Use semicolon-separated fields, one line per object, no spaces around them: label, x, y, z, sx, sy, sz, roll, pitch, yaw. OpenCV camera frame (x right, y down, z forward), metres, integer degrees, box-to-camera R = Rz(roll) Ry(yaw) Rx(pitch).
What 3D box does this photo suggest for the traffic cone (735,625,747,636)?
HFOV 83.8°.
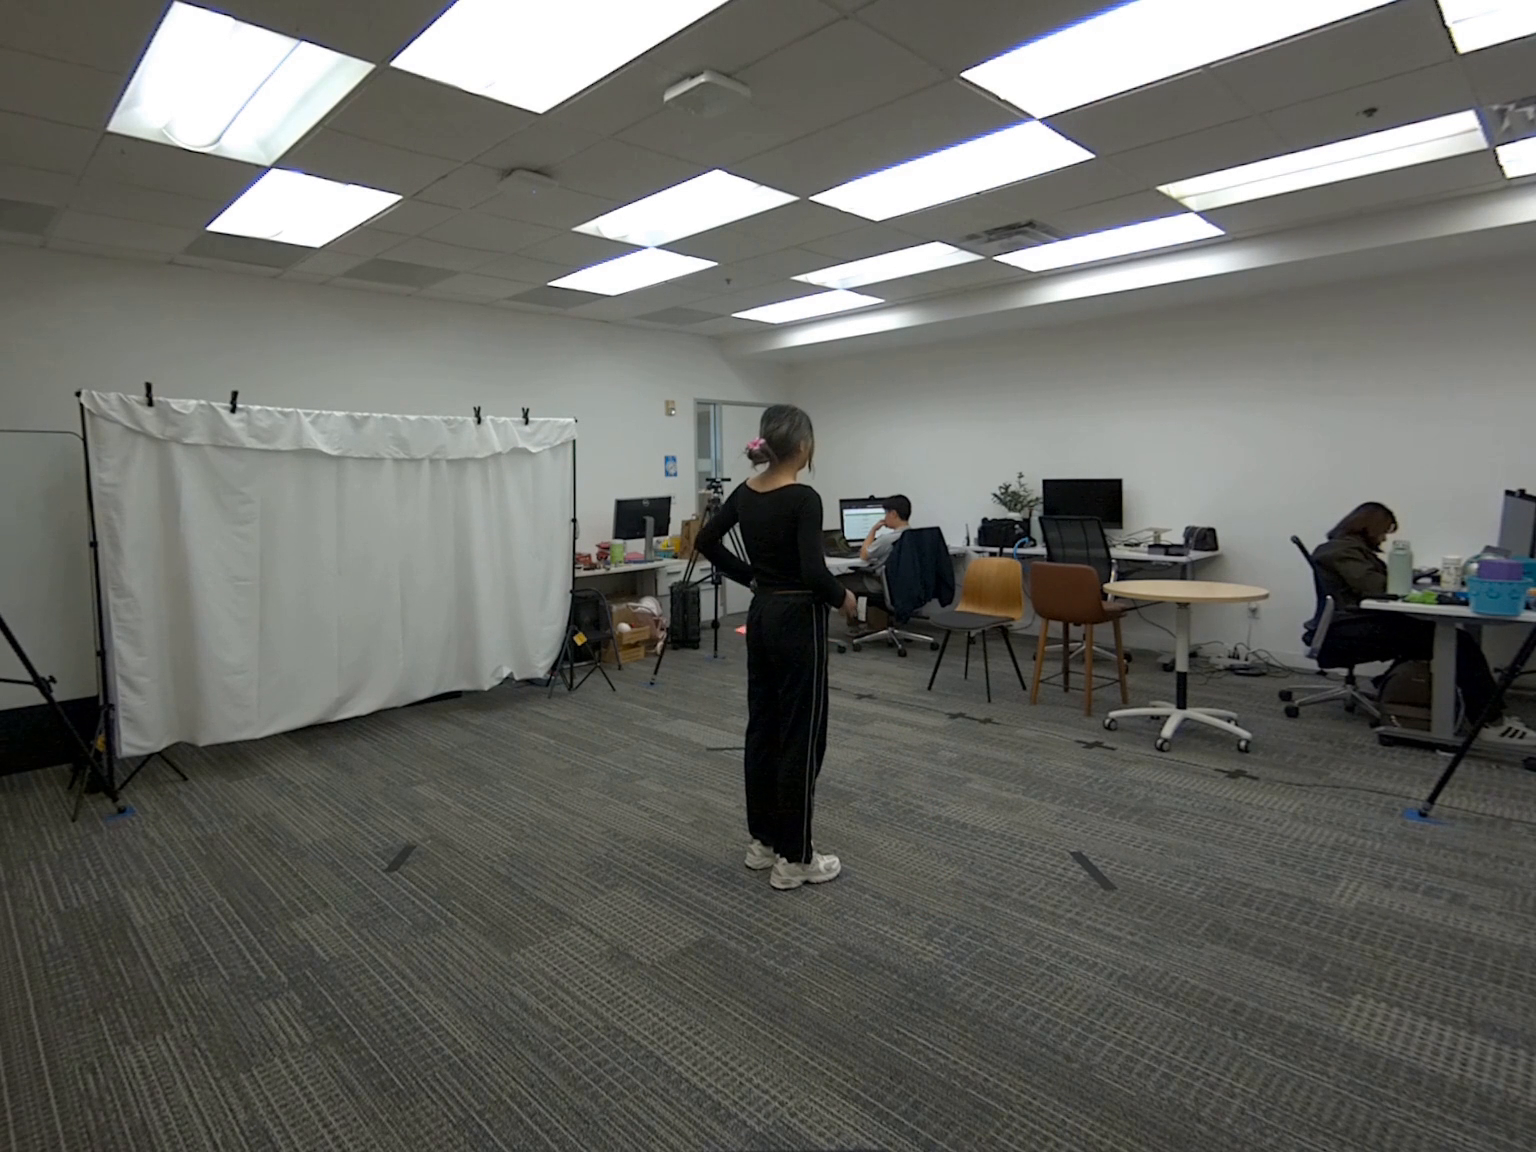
traffic cone;0.037;0.050;3.312;0.210;0.381;0.200;14;12;23
